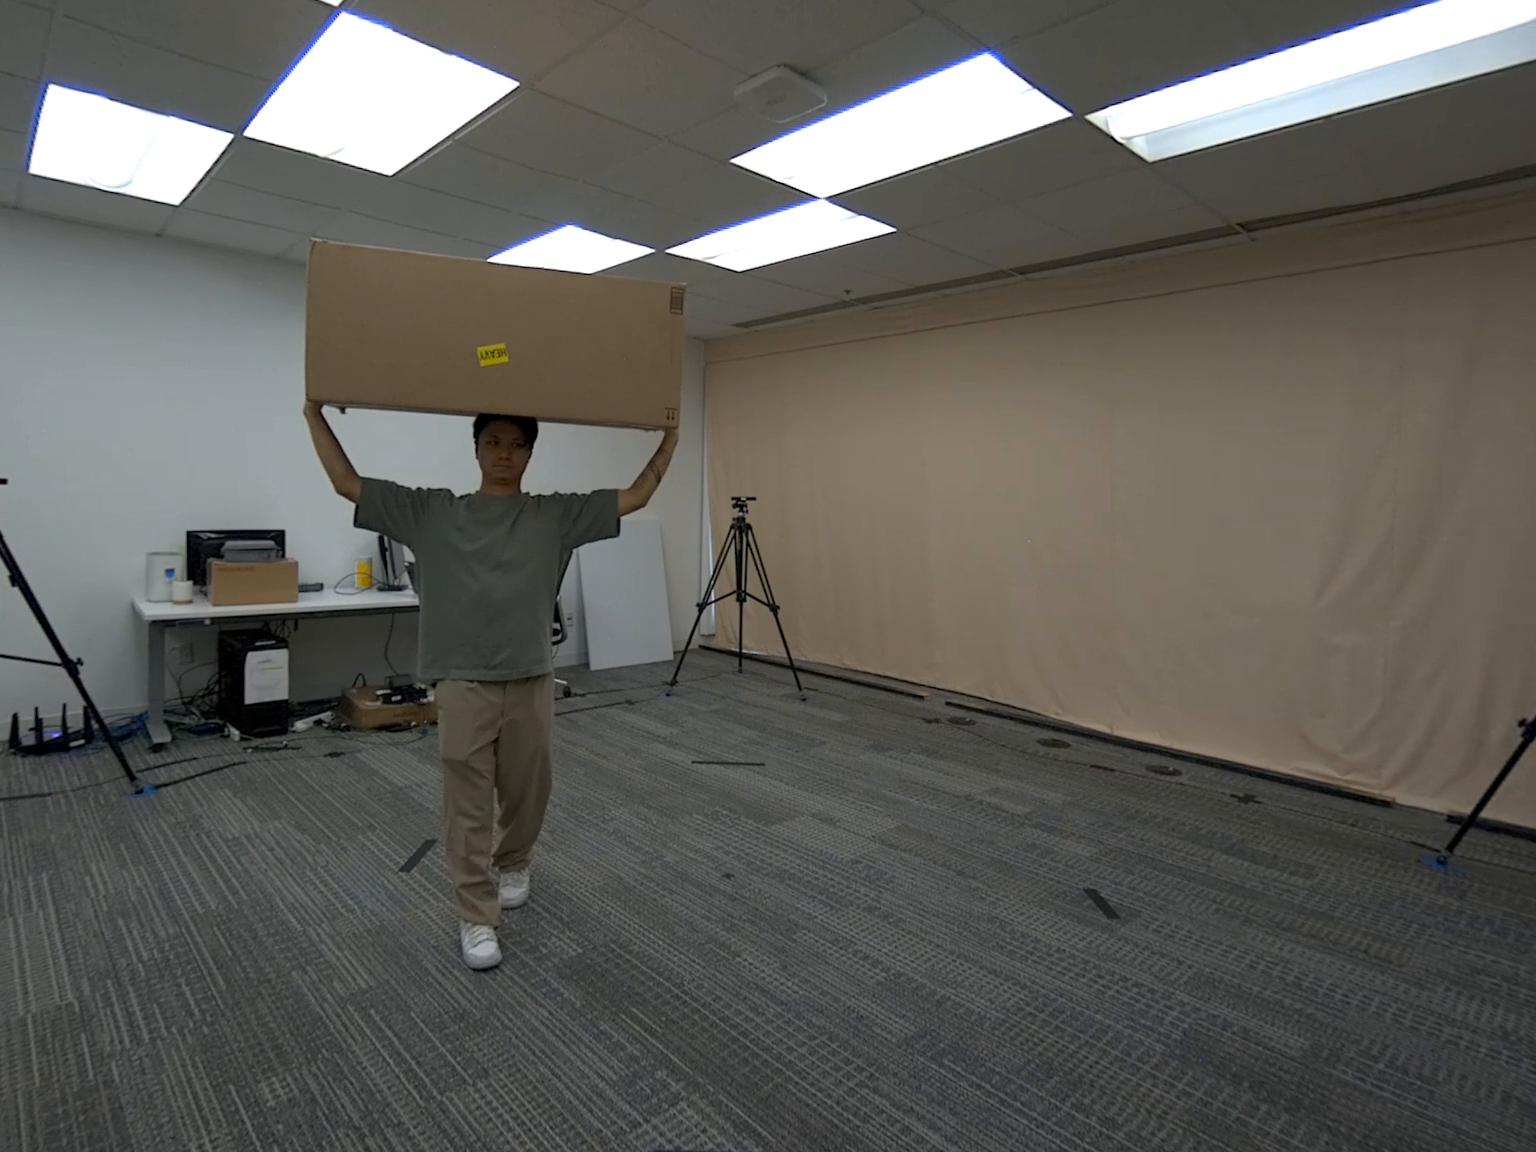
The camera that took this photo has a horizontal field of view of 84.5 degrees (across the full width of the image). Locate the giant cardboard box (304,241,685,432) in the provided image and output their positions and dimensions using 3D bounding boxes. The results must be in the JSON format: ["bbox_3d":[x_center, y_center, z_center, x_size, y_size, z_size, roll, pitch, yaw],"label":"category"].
[{"bbox_3d":[-0.823,-0.701,2.628,1.012,0.424,0.588,2,8,-17],"label":"giant cardboard box"}]
